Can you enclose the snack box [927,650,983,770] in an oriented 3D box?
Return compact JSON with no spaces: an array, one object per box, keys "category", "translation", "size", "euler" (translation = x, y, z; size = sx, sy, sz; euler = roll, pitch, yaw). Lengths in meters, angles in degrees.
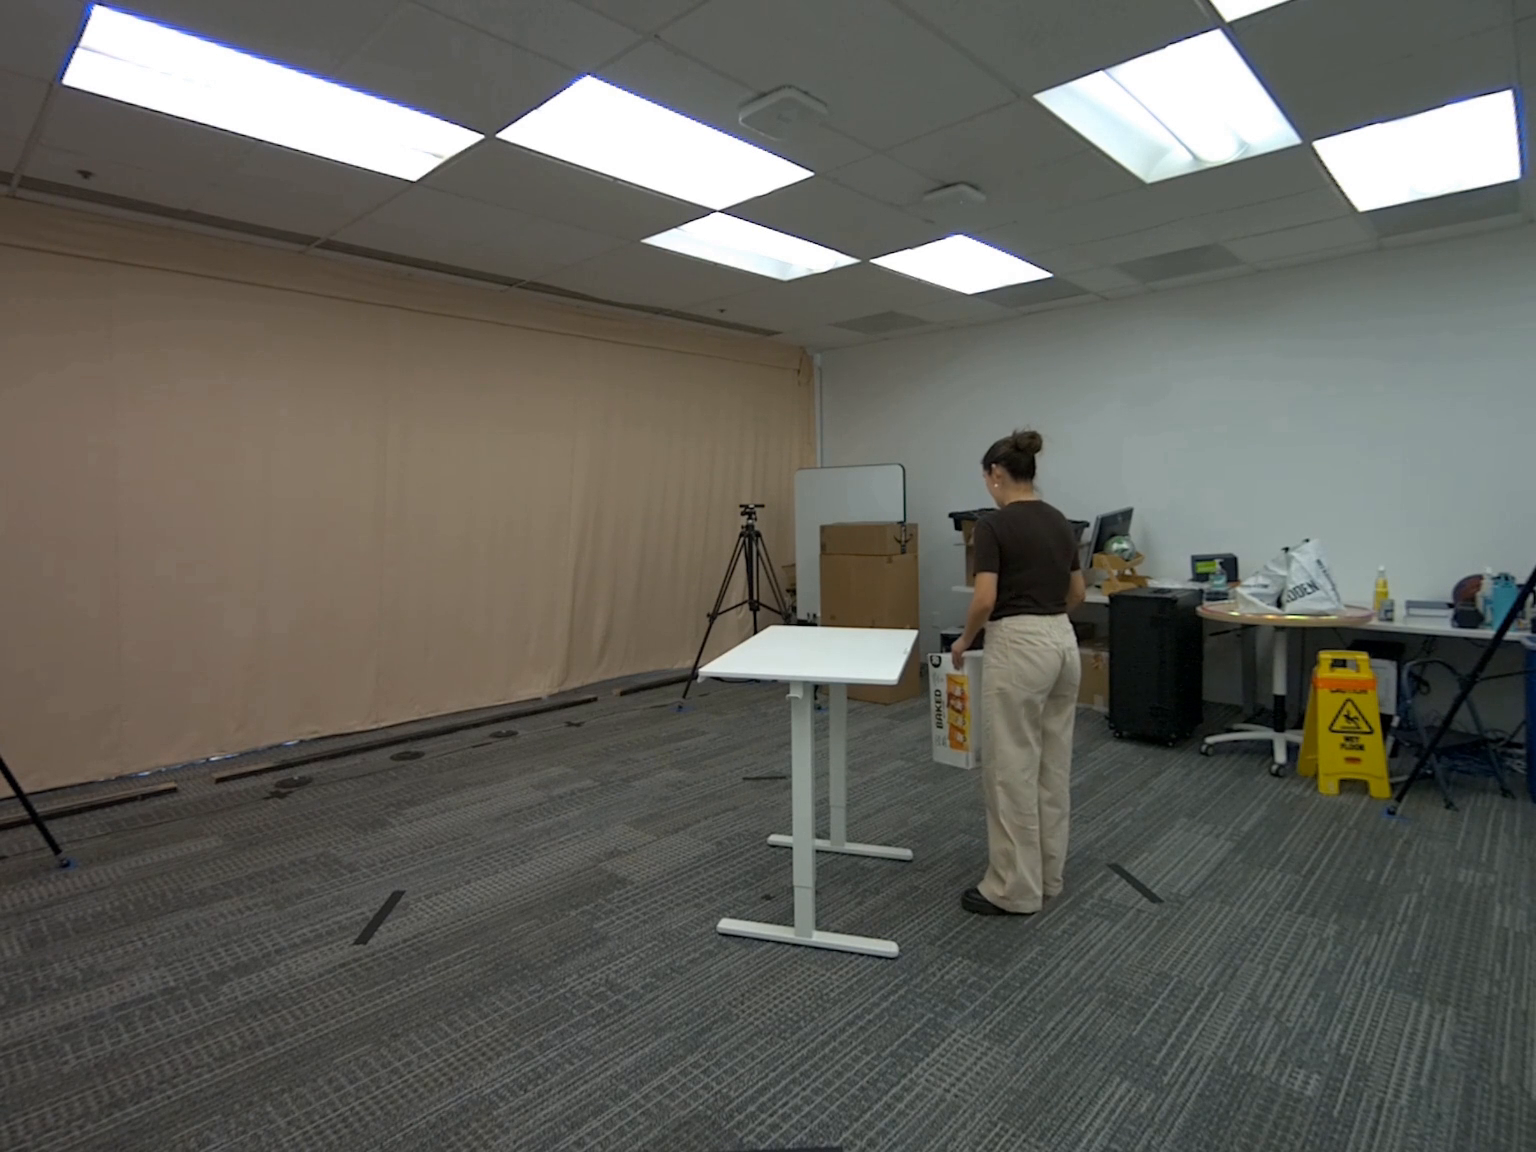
[{"category":"snack box","translation":[0.825,0.497,3.205],"size":[0.332,0.406,0.210],"euler":[-1,-3,-27]}]
